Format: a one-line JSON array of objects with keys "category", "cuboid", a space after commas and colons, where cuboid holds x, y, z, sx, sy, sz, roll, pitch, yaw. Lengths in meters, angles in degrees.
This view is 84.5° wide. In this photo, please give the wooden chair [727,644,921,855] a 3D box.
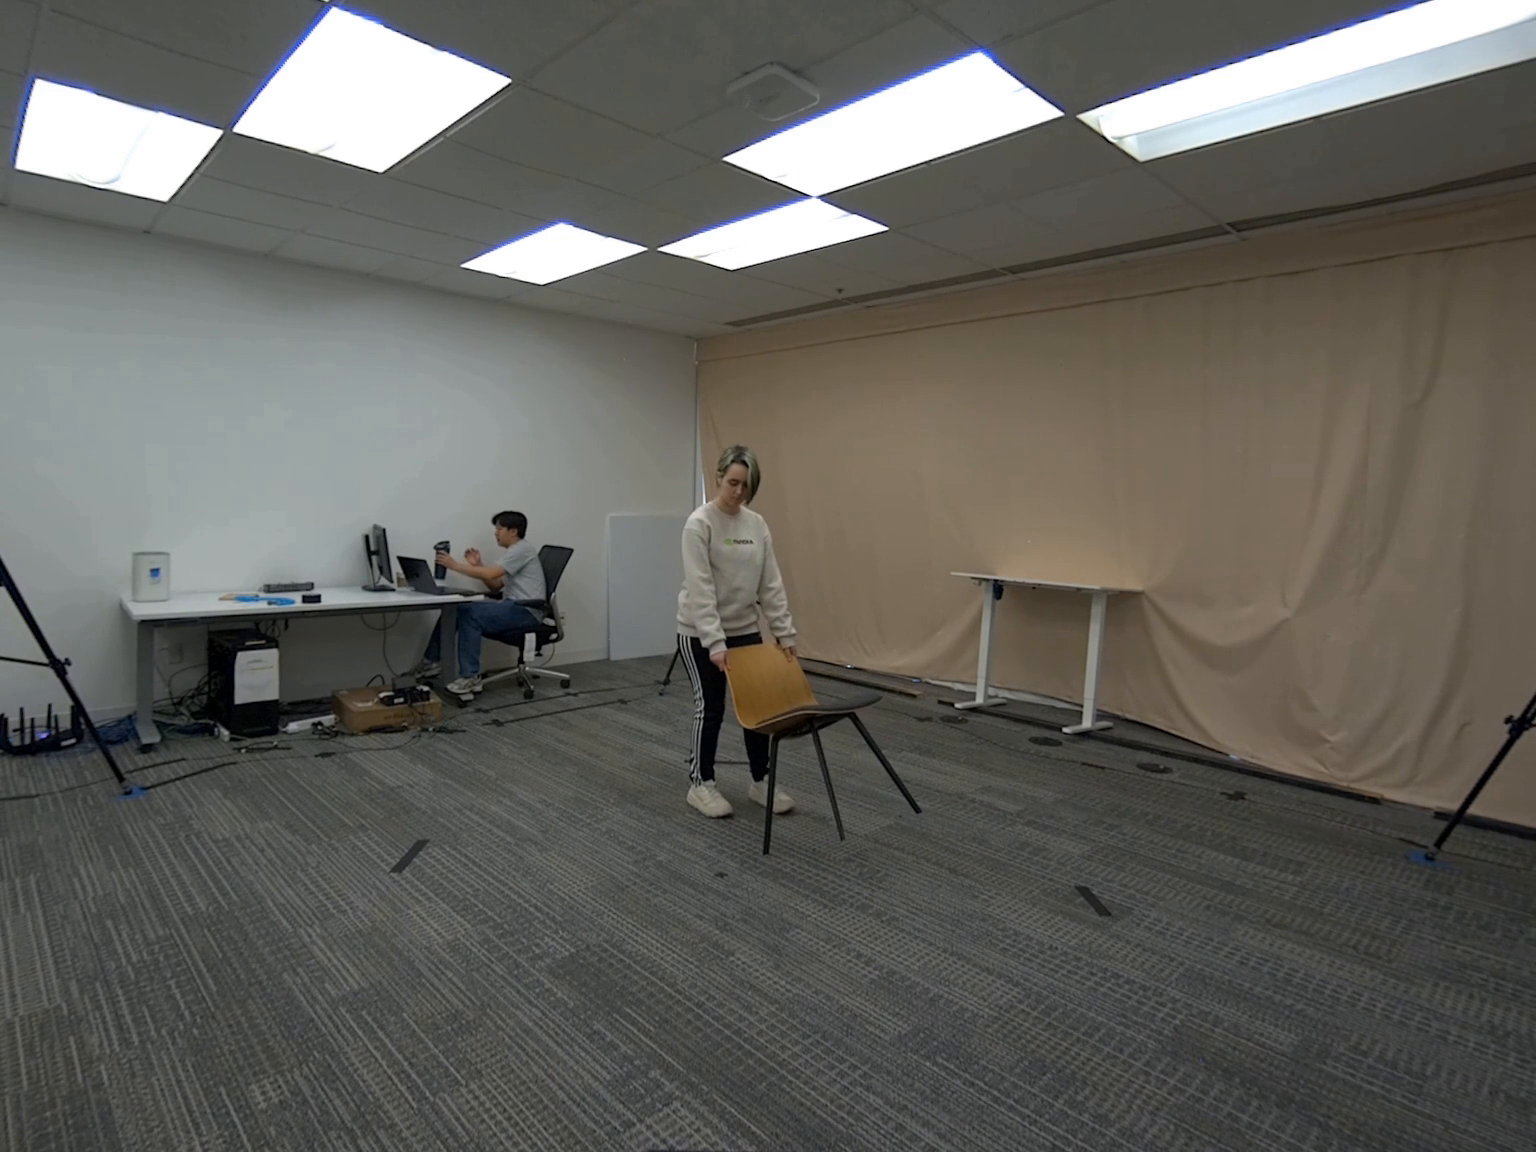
[{"category": "wooden chair", "cuboid": [0.173, 0.598, 3.370, 0.467, 0.893, 0.526, -2, -25, -41]}]
